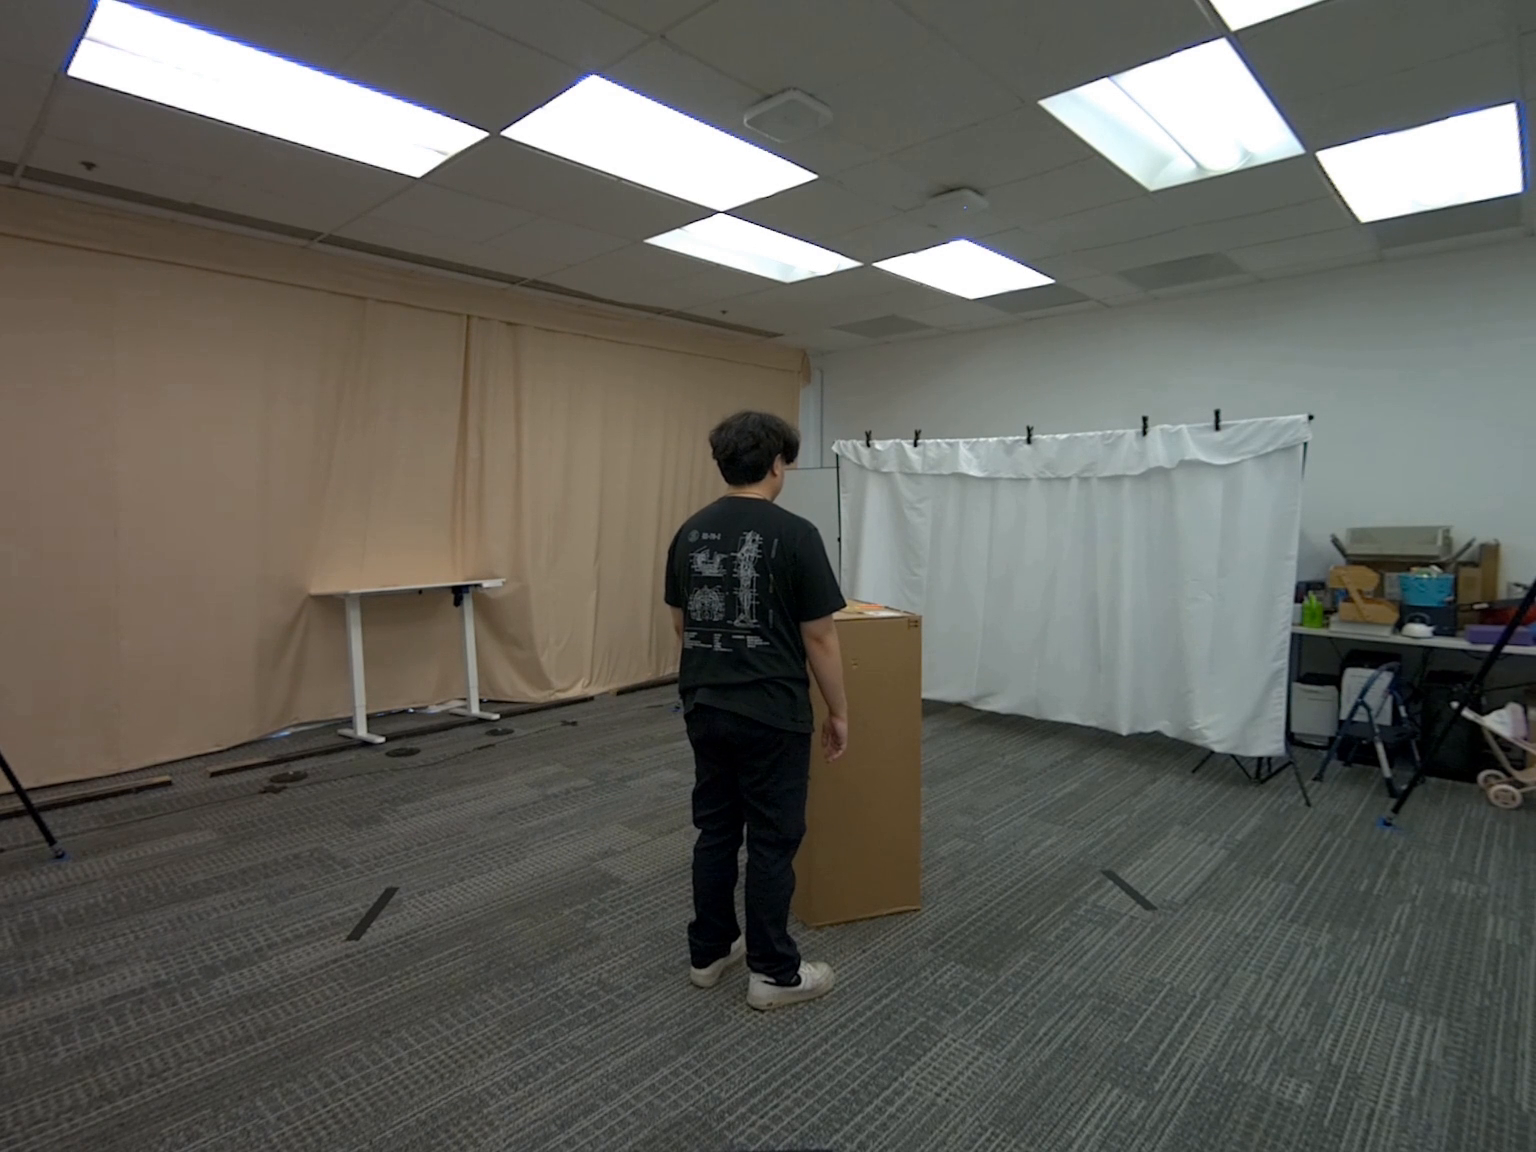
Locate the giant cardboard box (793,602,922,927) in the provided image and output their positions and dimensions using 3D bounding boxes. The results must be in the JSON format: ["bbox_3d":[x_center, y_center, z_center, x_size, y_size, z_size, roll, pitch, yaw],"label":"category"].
[{"bbox_3d":[0.230,0.623,3.079,0.438,1.025,0.597,0,3,-21],"label":"giant cardboard box"}]
